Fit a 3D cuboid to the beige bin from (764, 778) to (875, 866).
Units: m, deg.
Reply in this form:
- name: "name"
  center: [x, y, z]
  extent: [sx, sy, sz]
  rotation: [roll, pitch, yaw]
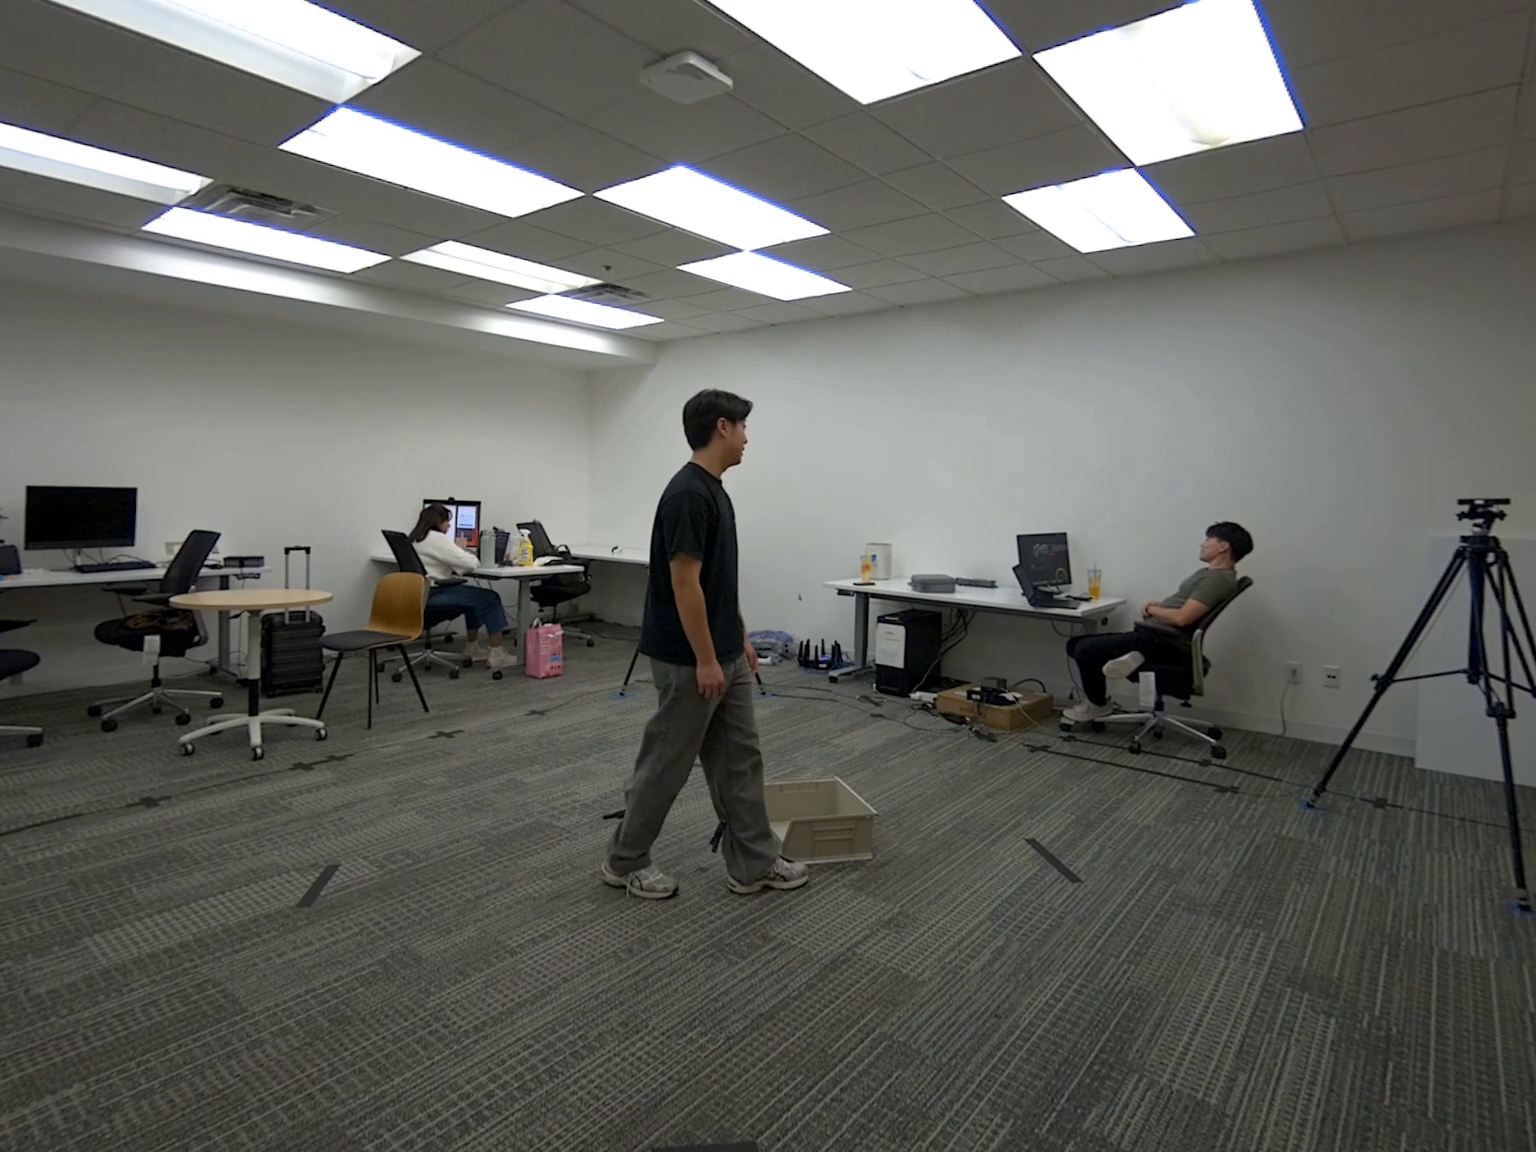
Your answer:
- name: "beige bin"
  center: [0.169, 0.966, 3.384]
  extent: [0.371, 0.188, 0.430]
  rotation: [0, 4, -16]
